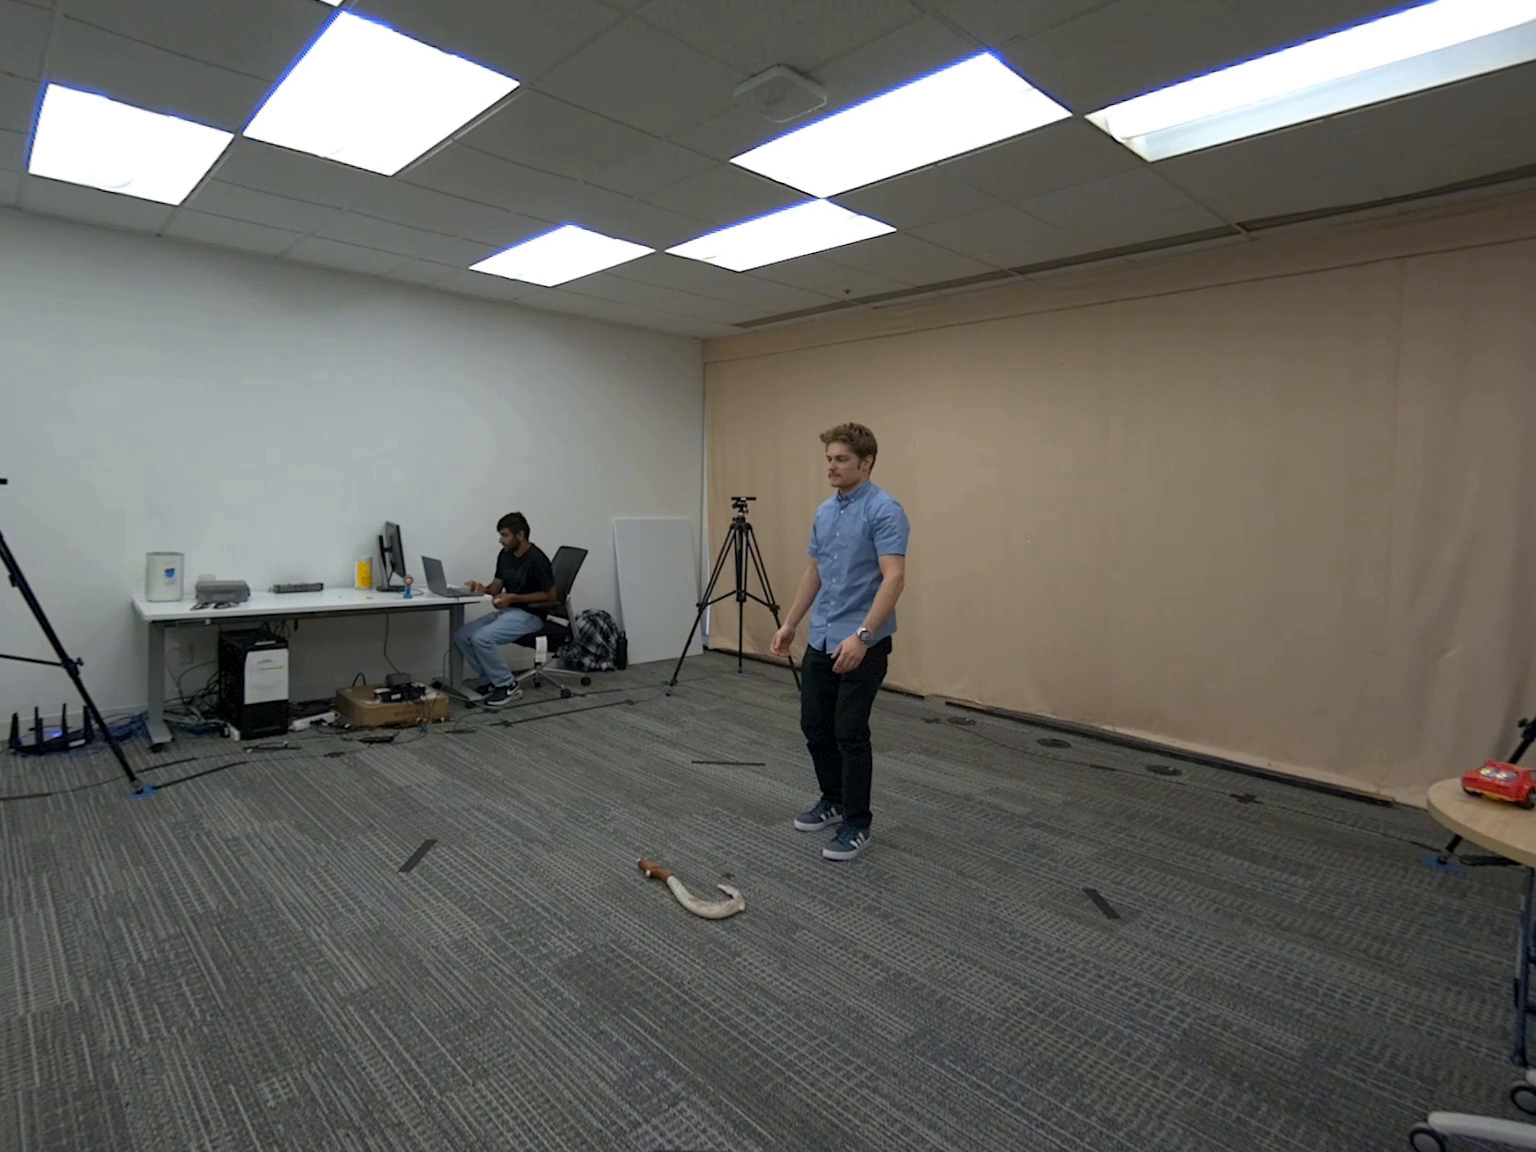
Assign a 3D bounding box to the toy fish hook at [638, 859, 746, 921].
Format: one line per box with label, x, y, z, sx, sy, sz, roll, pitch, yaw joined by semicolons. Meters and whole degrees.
toy fish hook;-0.284;1.098;2.997;0.219;0.048;0.520;7;1;-40
